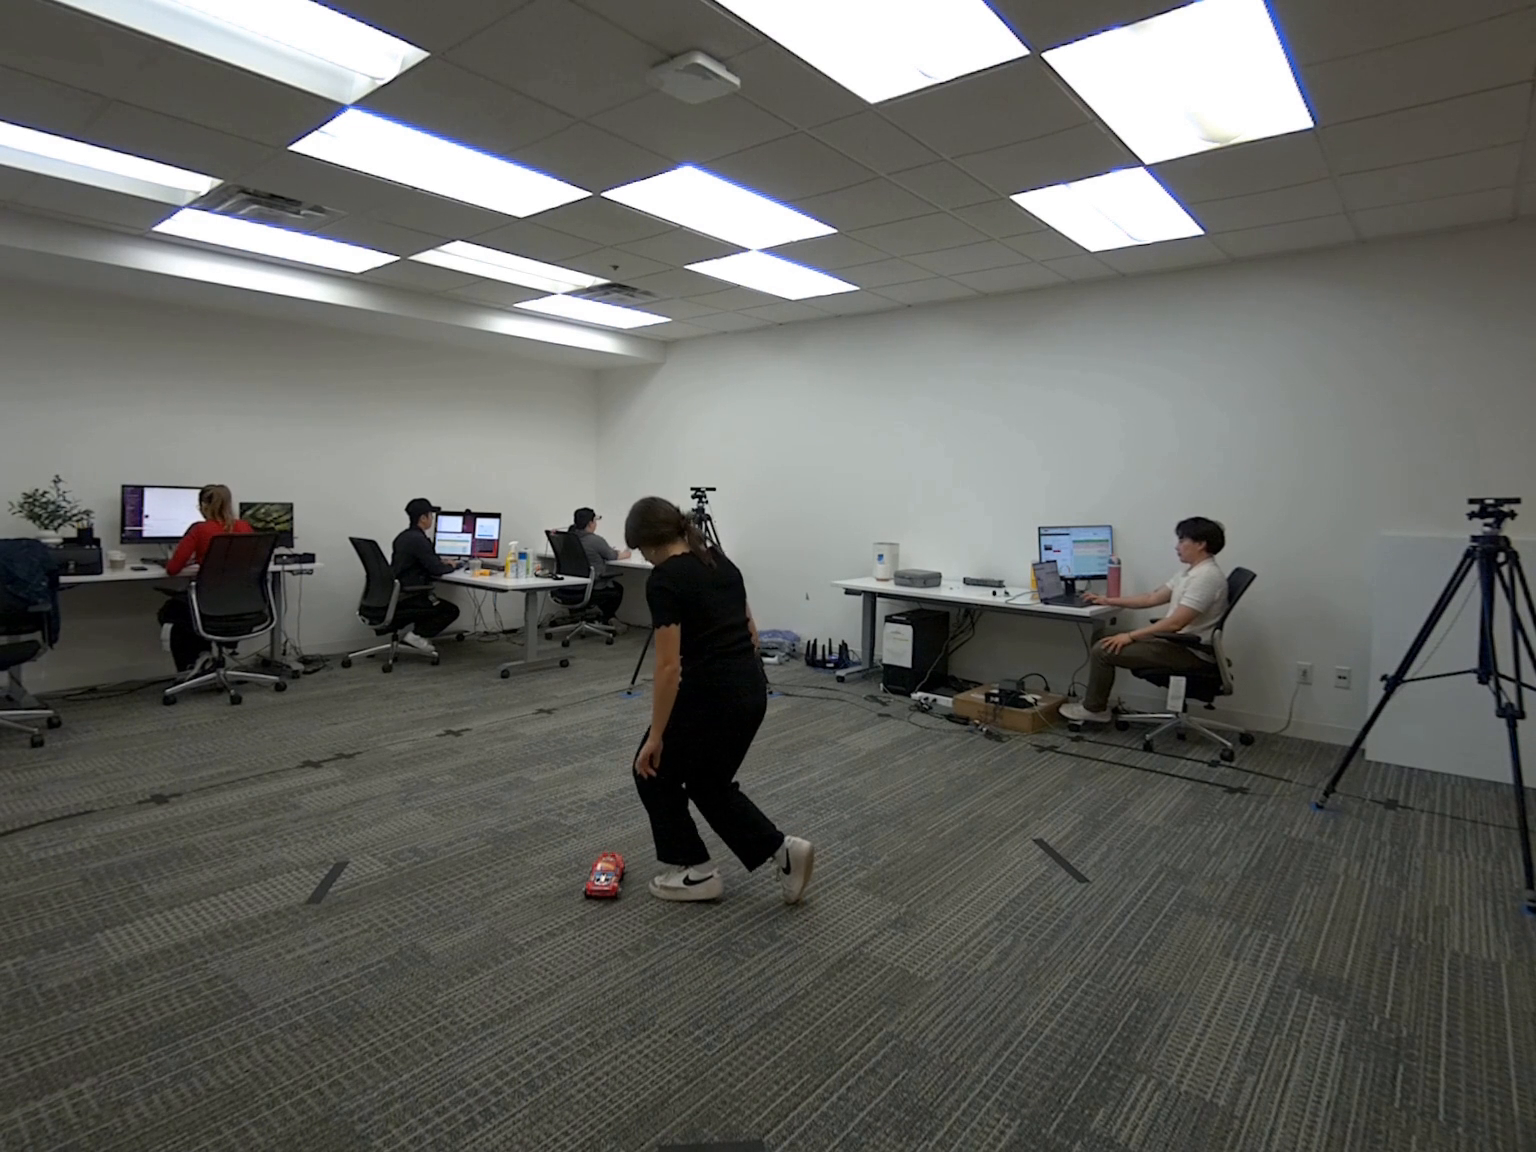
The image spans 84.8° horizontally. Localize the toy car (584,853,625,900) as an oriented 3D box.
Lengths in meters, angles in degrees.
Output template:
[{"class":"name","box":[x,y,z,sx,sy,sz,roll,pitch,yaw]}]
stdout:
[{"class":"toy car","box":[-0.577,1.043,2.966,0.130,0.082,0.258,1,16,-2]}]
